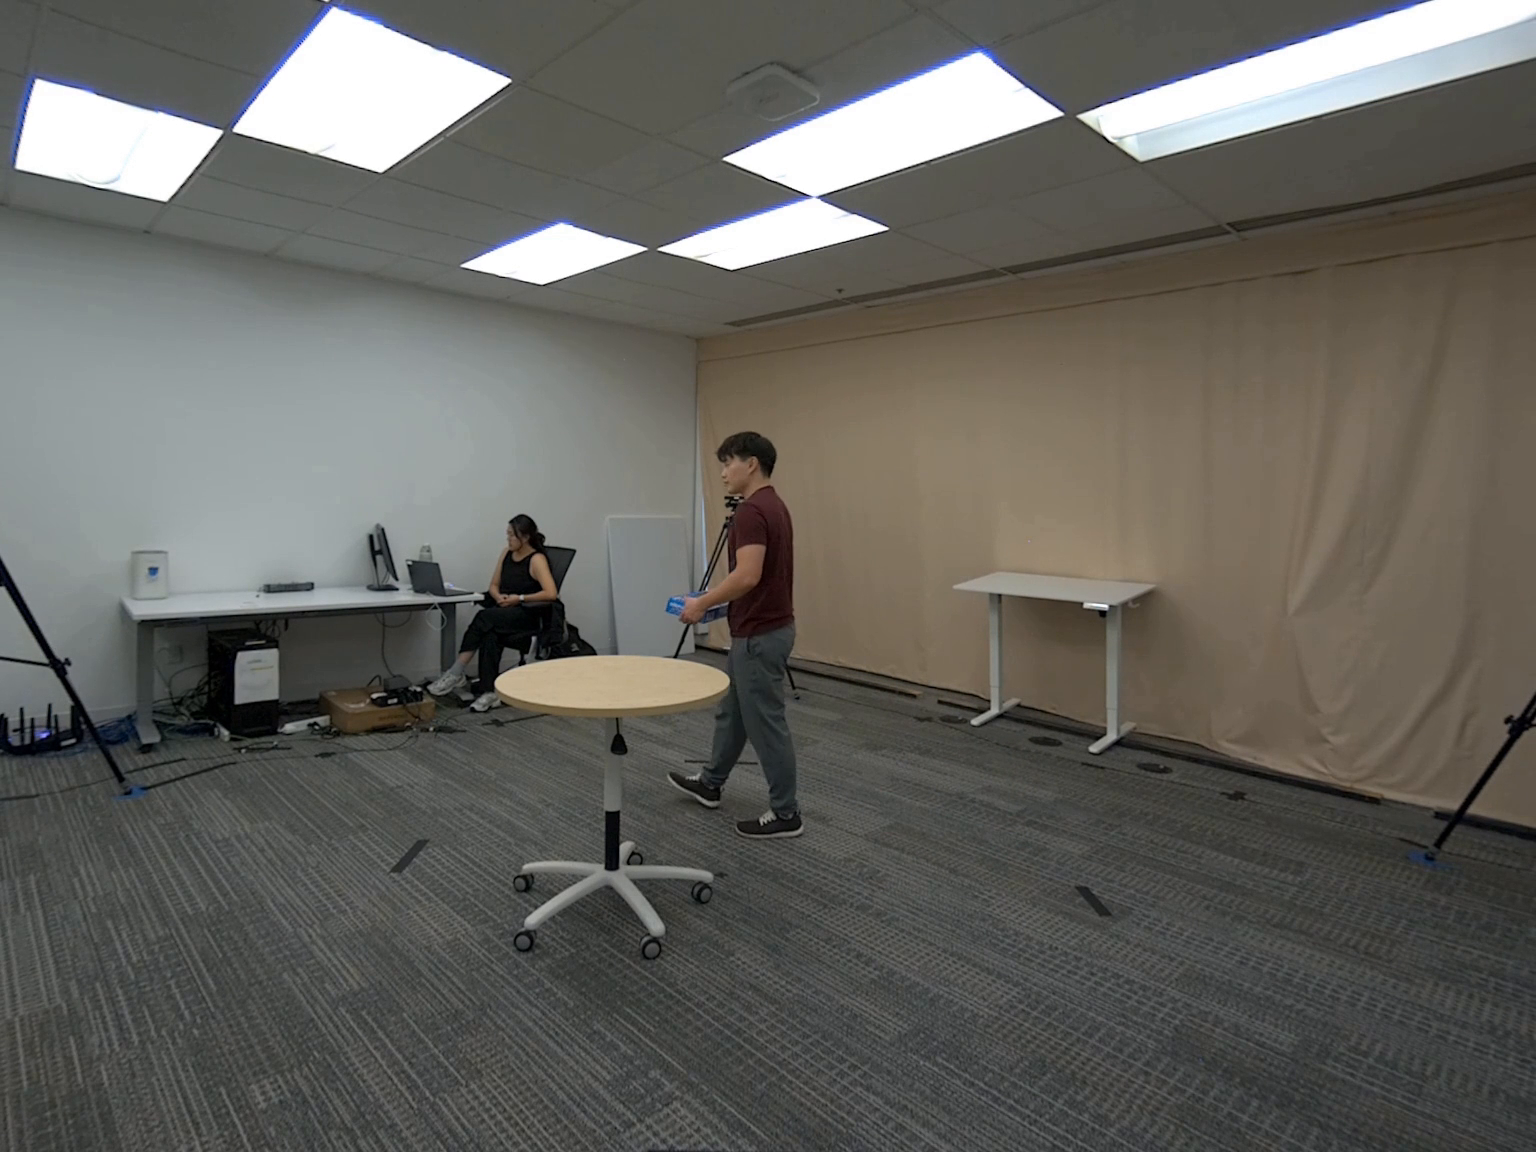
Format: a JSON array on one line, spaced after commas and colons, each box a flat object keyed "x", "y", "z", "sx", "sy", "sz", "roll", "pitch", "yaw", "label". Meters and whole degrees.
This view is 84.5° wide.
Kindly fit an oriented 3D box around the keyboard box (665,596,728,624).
[{"x": -0.279, "y": 0.129, "z": 3.585, "sx": 0.178, "sy": 0.059, "sz": 0.432, "roll": 16, "pitch": 8, "yaw": 14, "label": "keyboard box"}]
